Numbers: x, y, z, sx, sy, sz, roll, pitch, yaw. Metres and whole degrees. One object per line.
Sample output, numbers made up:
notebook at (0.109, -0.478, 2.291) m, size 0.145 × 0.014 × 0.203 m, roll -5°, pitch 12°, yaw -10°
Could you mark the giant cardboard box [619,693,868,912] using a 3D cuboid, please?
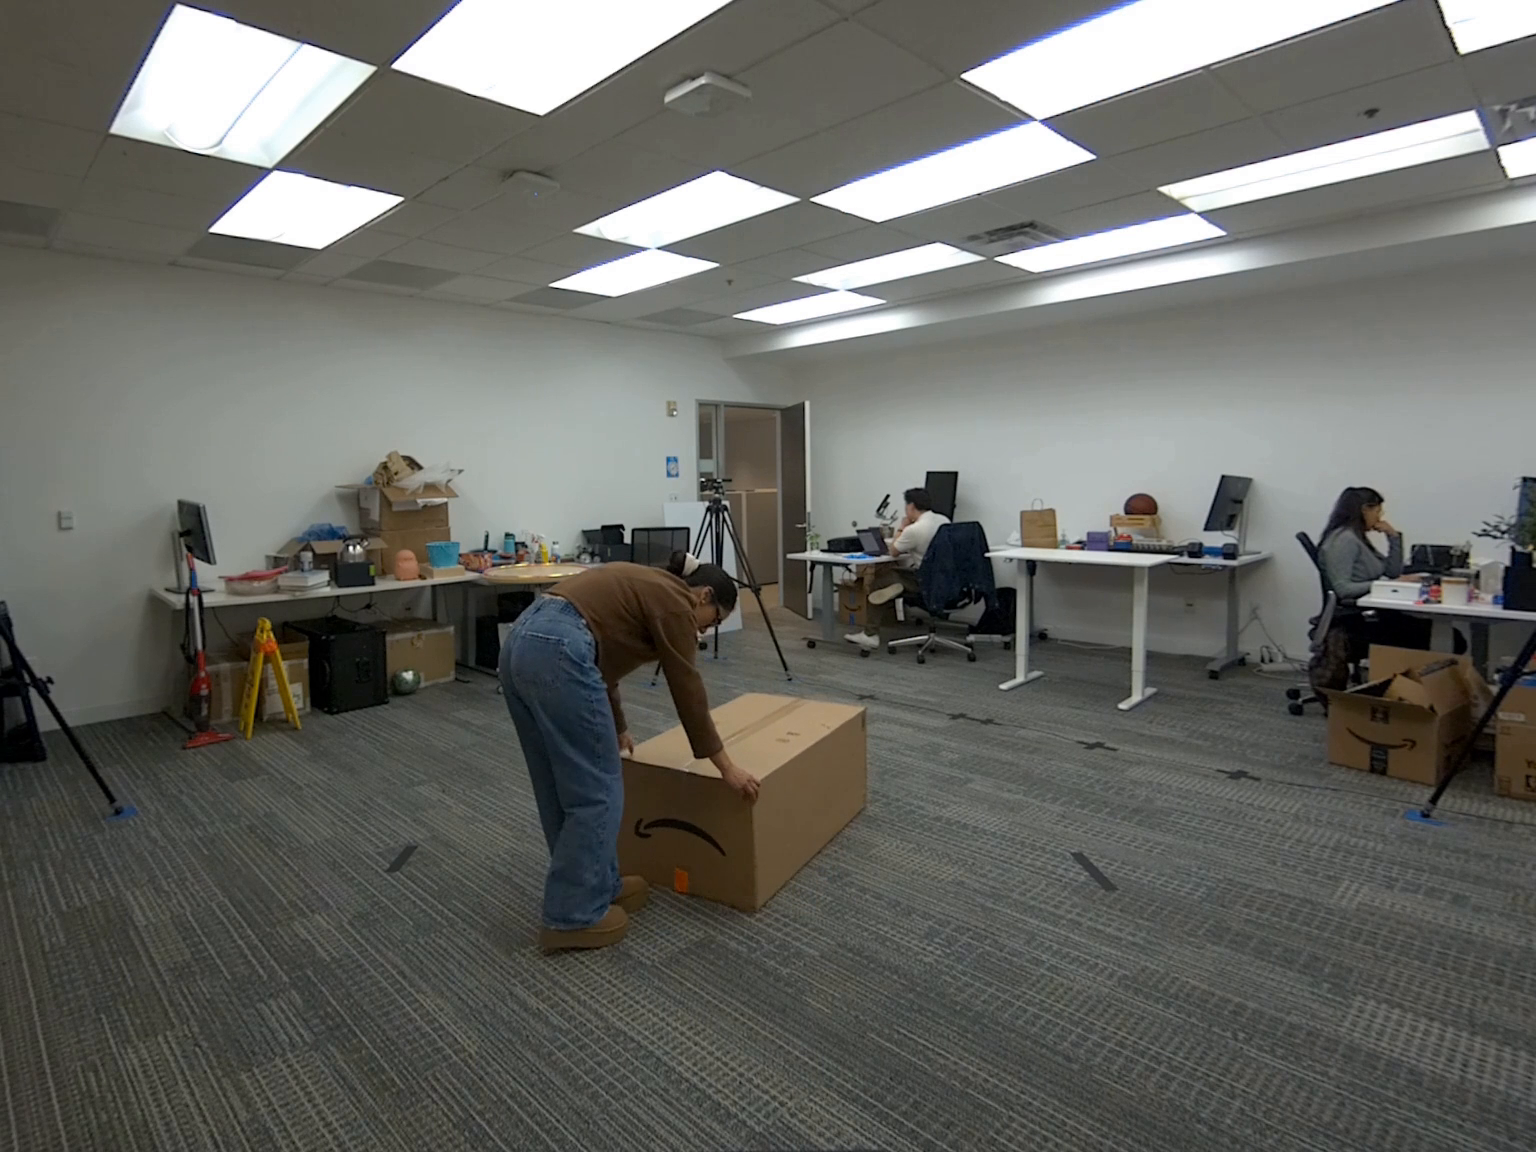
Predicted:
giant cardboard box at (-0.063, 0.808, 3.318) m, size 0.599 × 0.445 × 1.005 m, roll 1°, pitch 6°, yaw 28°
